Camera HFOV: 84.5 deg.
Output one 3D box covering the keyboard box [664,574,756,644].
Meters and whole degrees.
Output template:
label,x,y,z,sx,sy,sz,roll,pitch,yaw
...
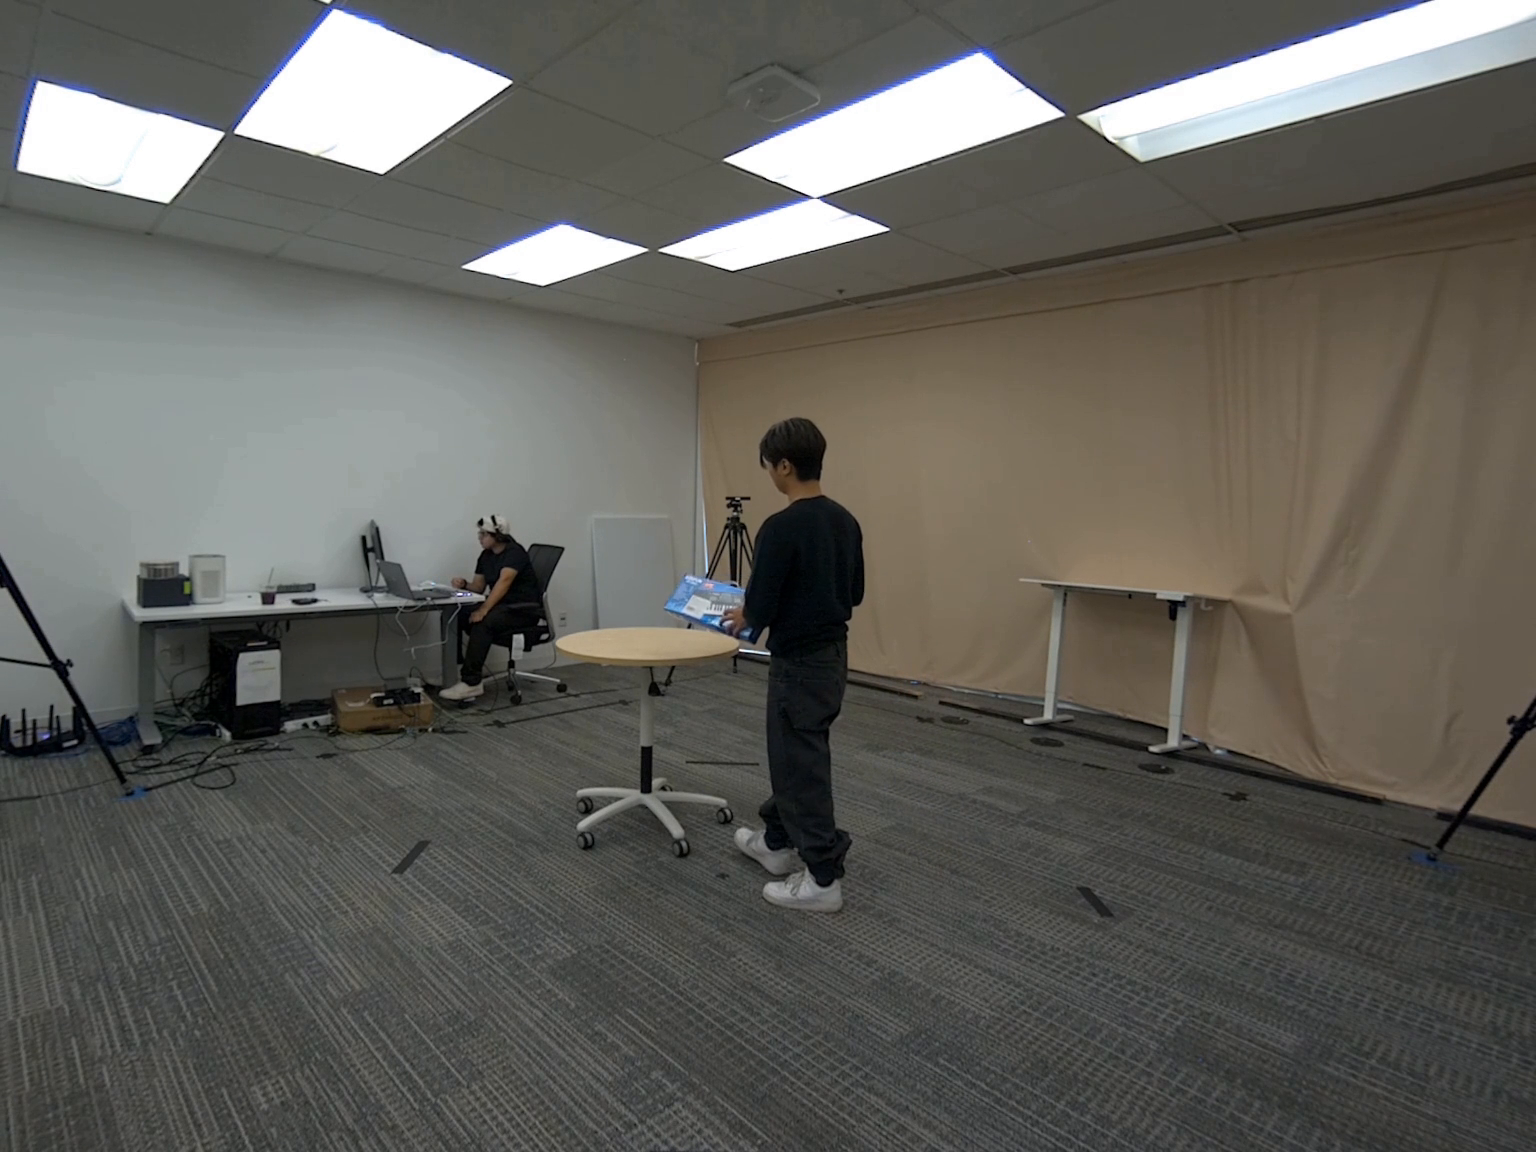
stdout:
label,x,y,z,sx,sy,sz,roll,pitch,yaw
keyboard box,-0.203,0.120,3.166,0.450,0.176,0.057,18,-25,42
